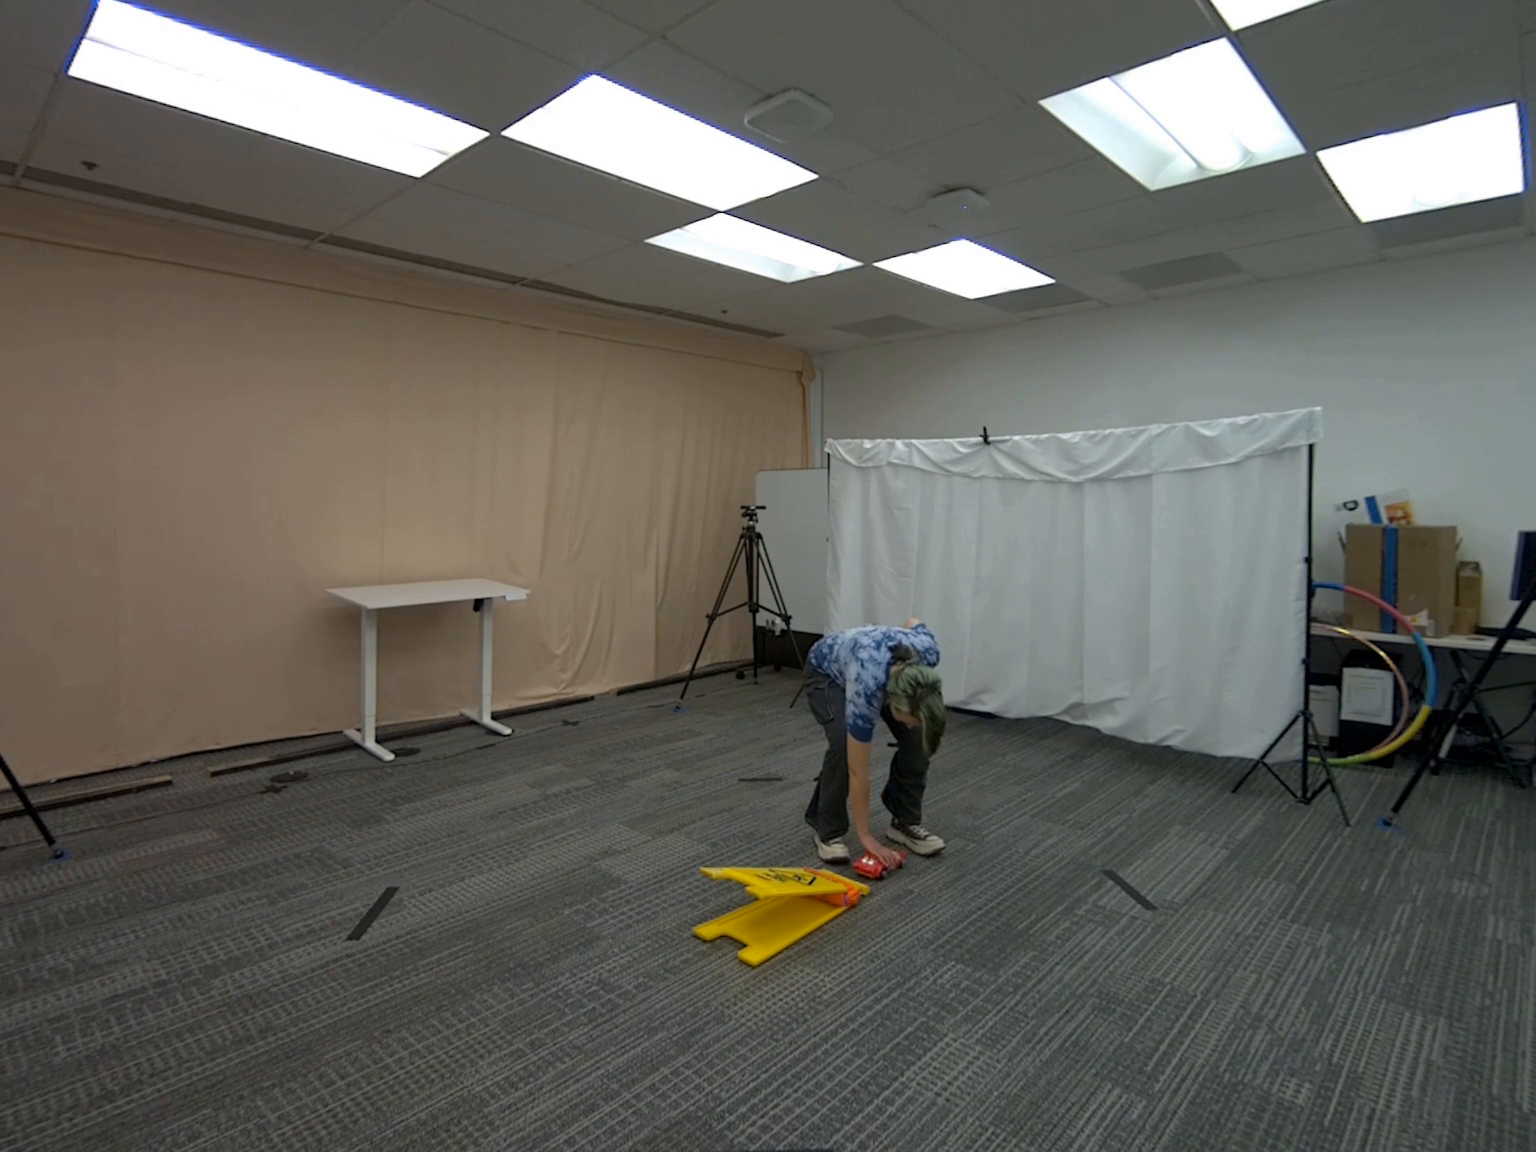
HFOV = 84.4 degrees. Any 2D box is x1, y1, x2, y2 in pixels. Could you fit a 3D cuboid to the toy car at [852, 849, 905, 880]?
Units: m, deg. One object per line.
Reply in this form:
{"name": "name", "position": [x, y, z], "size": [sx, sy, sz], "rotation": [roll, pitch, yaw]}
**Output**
{"name": "toy car", "position": [0.425, 1.094, 3.202], "size": [0.135, 0.083, 0.246], "rotation": [5, -2, 41]}
